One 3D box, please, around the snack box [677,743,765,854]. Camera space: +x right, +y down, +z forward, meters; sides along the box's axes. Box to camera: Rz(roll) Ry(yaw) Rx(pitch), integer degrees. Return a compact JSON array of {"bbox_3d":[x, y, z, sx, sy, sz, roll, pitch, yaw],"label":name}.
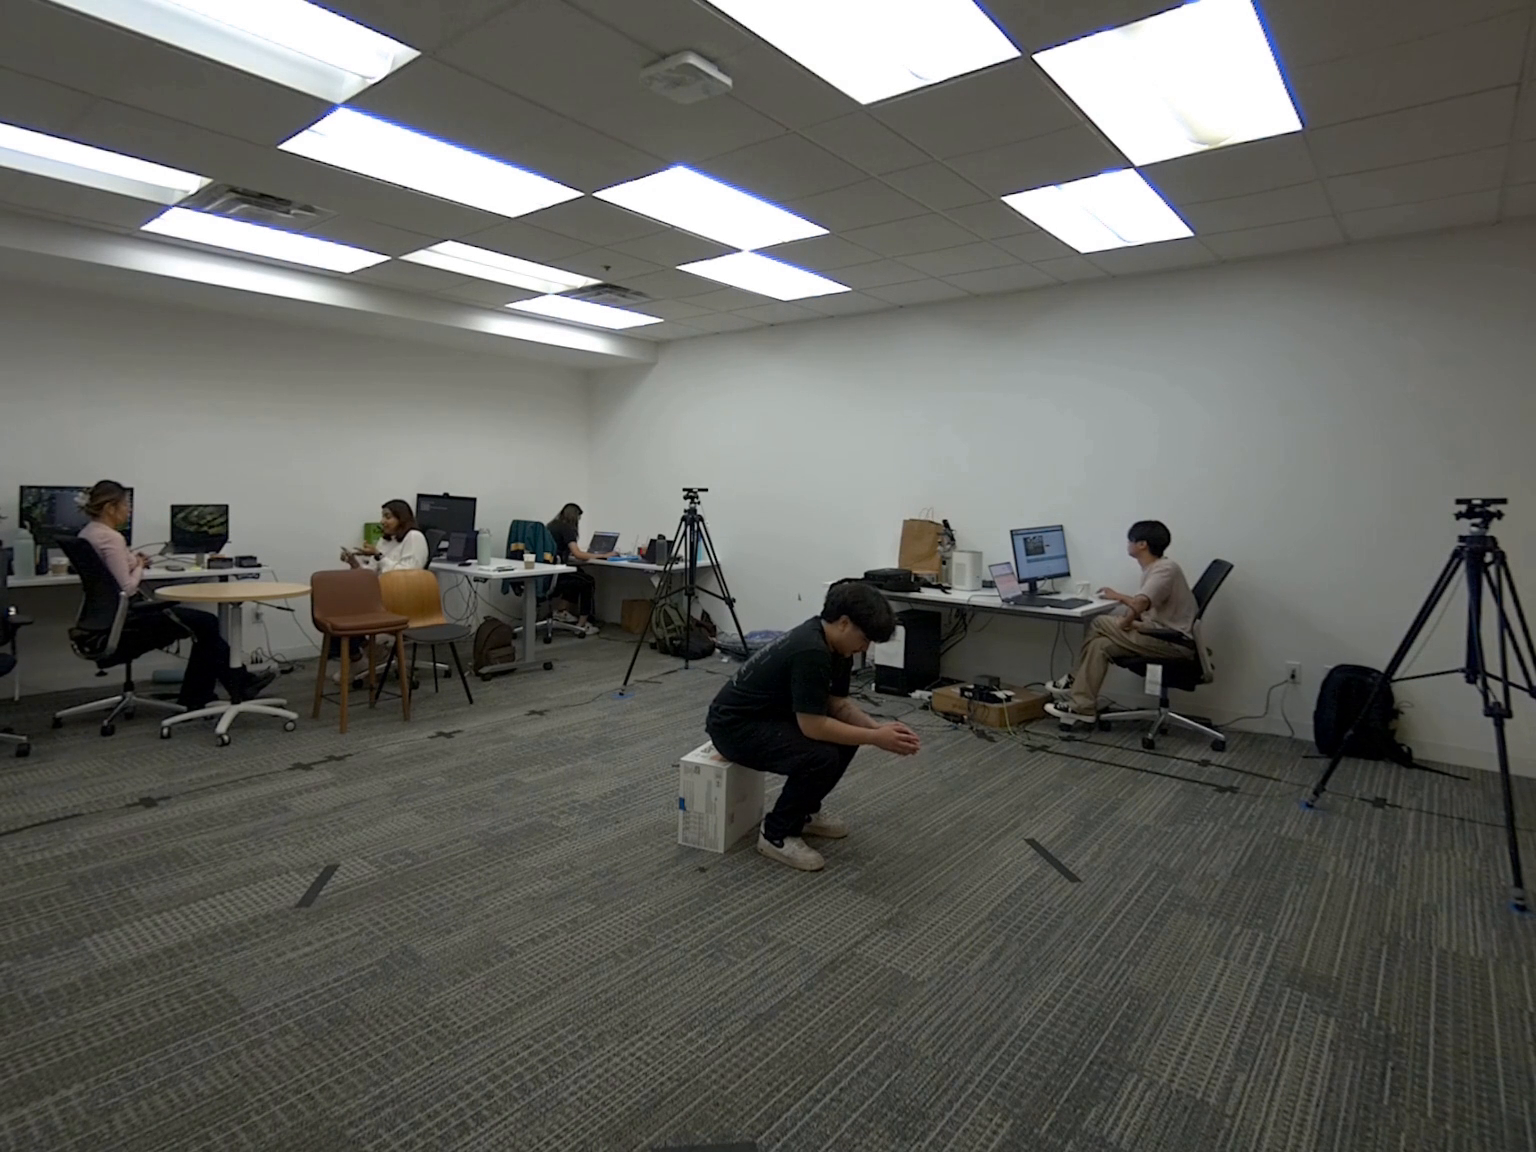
[{"bbox_3d":[-0.193,0.870,3.460,0.211,0.339,0.397,1,5,23],"label":"snack box"}]
